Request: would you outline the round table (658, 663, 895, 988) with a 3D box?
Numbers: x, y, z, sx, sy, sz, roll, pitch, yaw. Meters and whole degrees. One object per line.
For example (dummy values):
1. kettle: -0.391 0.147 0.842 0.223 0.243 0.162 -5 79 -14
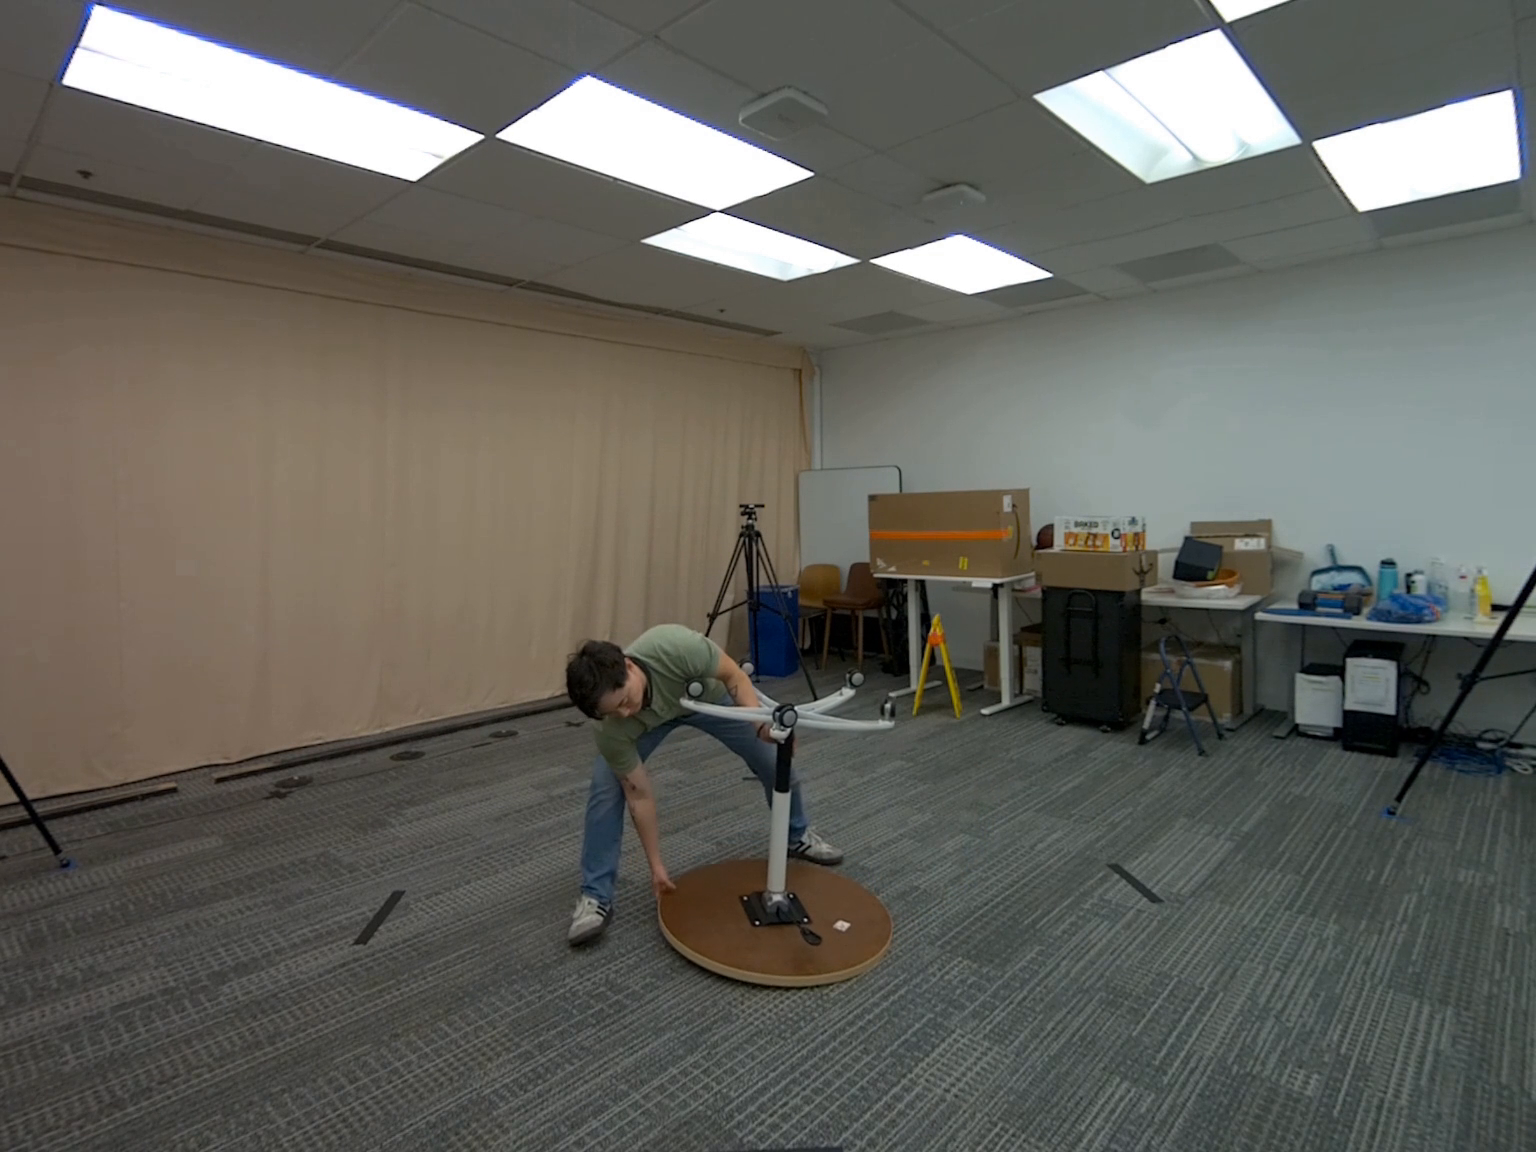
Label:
1. round table: 0.048 0.741 2.748 0.763 0.792 0.767 3 4 -2
